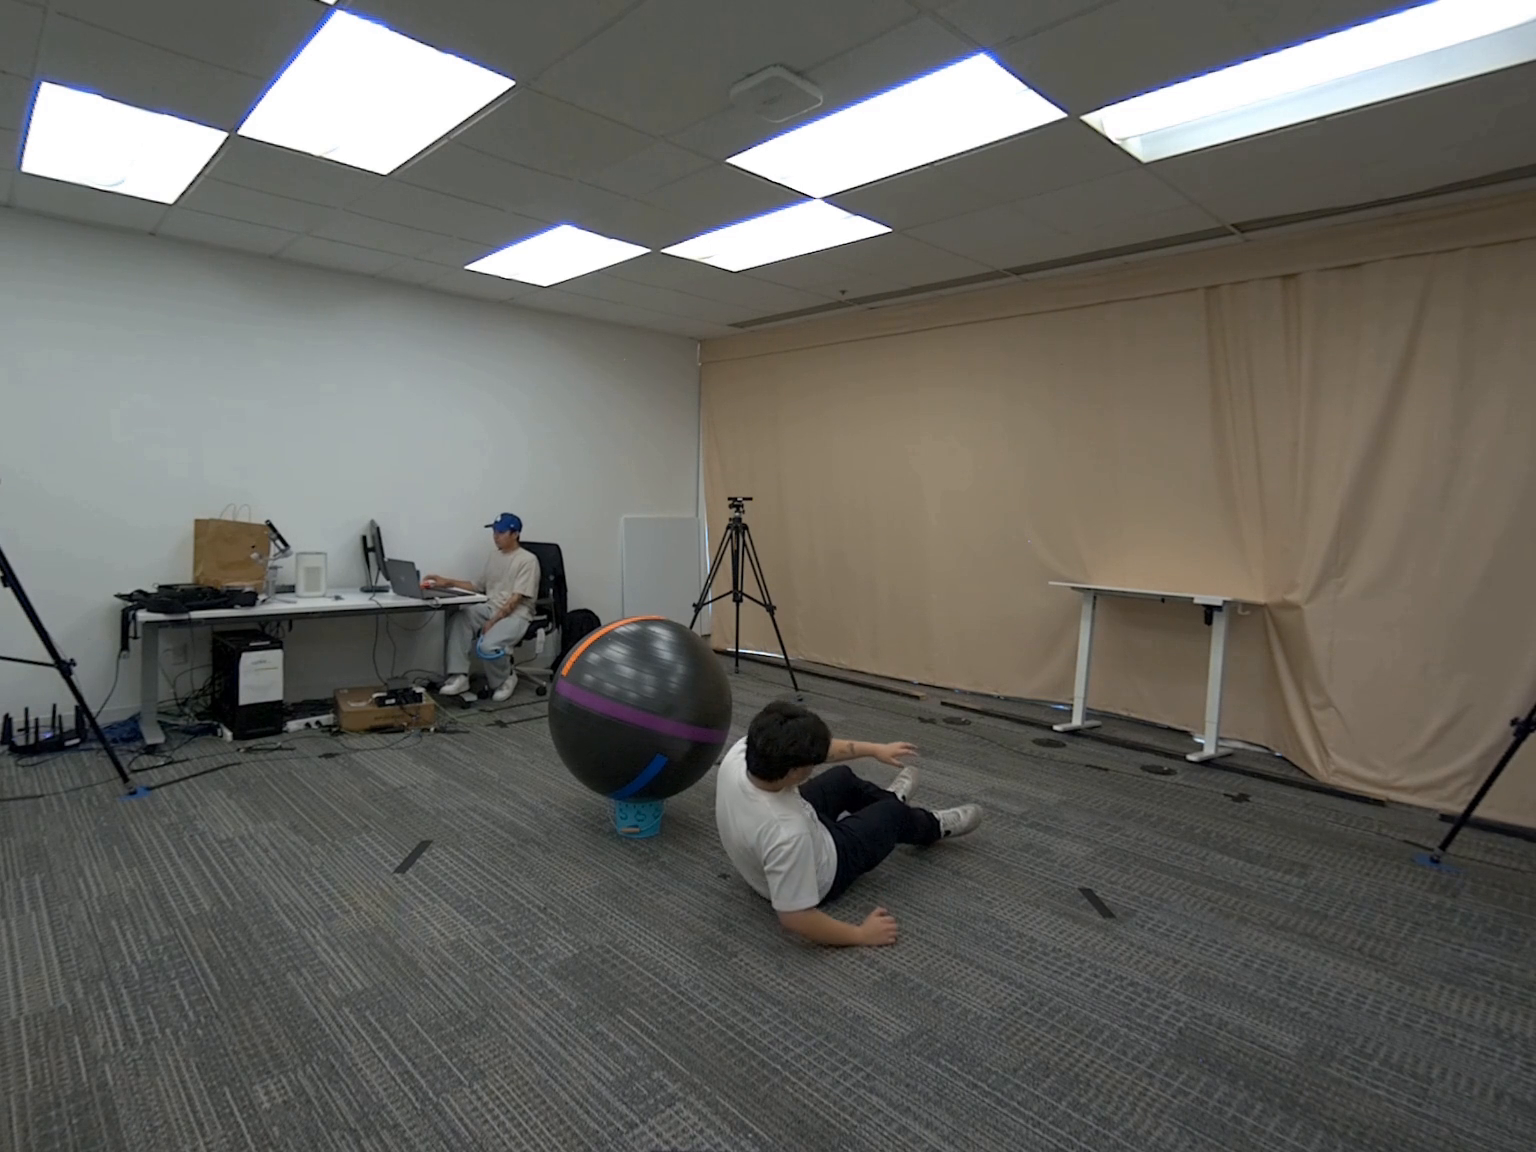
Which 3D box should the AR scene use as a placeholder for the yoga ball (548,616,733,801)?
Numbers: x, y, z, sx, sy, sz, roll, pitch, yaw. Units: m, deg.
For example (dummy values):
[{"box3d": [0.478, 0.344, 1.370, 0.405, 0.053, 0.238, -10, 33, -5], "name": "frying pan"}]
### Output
[{"box3d": [-0.536, 0.548, 3.524, 0.757, 0.756, 0.761, 1, 4, -1], "name": "yoga ball"}]
